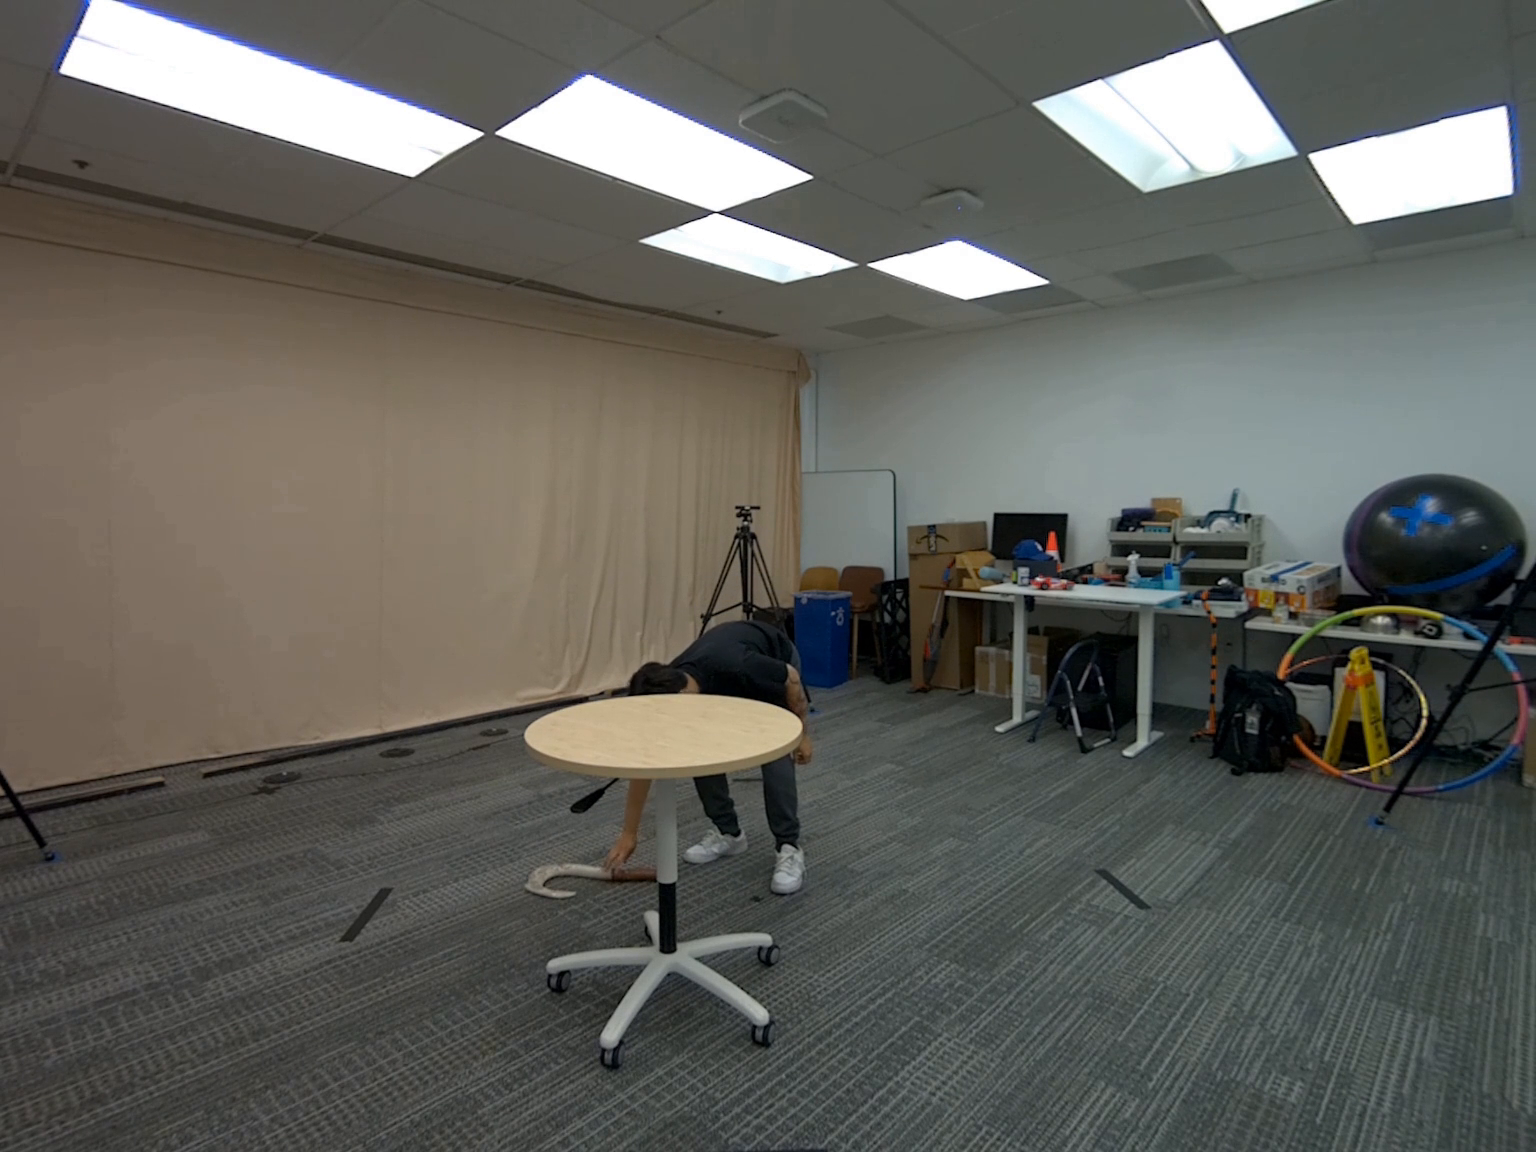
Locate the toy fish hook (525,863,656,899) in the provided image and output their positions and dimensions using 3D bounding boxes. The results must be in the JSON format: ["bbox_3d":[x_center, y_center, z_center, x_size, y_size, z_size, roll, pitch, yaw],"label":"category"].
[{"bbox_3d":[-0.636,1.128,3.101,0.508,0.048,0.226,-2,12,2],"label":"toy fish hook"}]
